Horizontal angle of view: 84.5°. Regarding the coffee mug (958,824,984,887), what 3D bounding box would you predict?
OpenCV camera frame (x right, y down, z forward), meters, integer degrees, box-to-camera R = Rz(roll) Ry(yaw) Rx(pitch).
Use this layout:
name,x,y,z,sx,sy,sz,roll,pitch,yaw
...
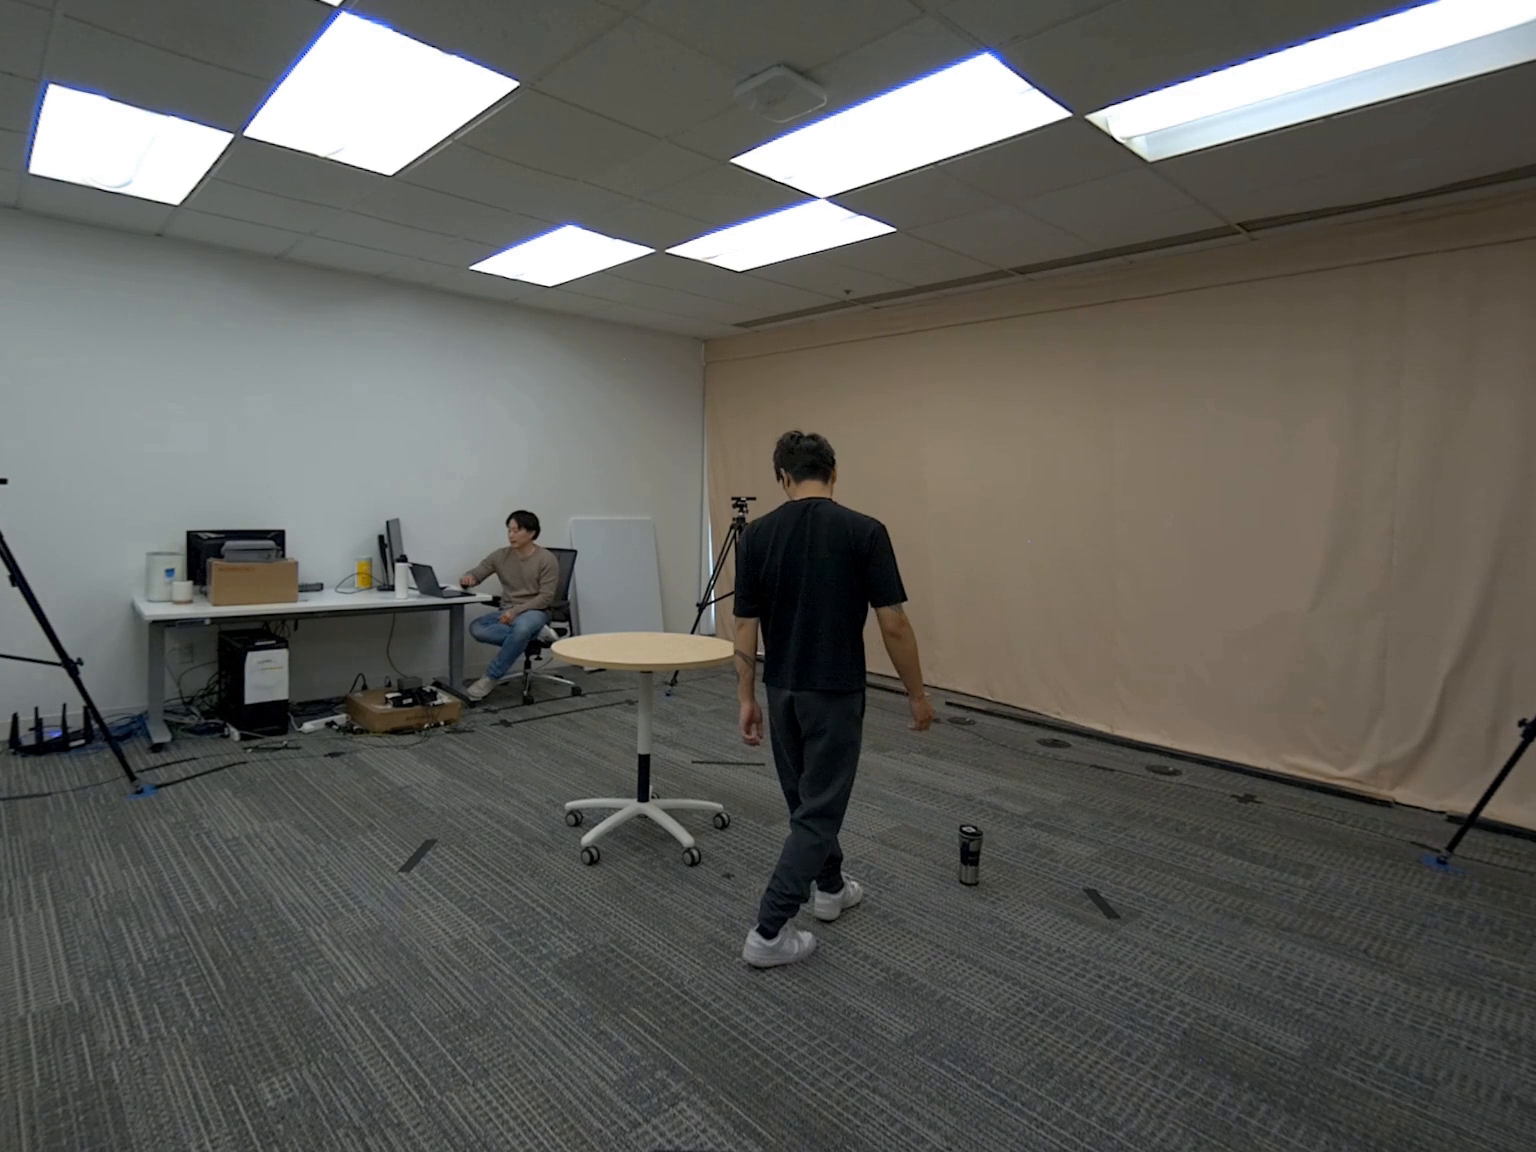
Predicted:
name,x,y,z,sx,sy,sz,roll,pitch,yaw
coffee mug,0.718,1.030,3.091,0.119,0.202,0.090,3,5,-39
